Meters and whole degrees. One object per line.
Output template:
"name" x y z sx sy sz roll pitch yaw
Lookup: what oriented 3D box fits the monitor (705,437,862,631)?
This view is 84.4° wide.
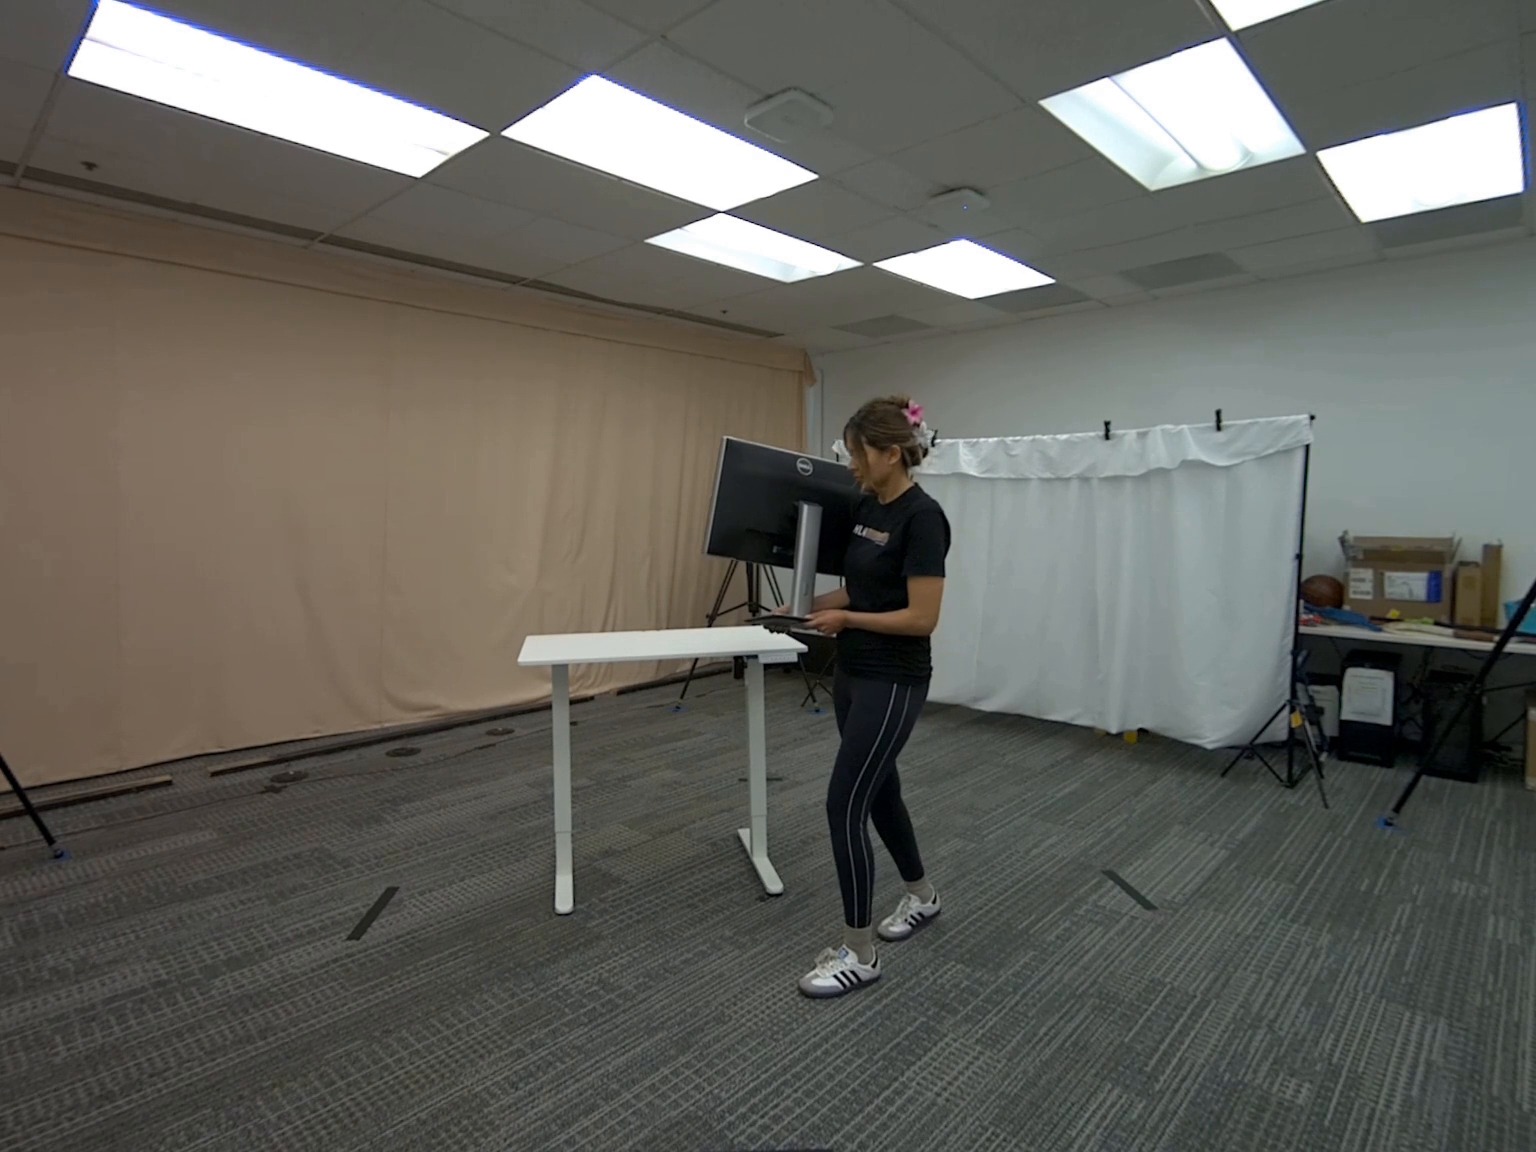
"monitor" 0.086 -0.120 2.609 0.524 0.525 0.191 9 -12 -28
